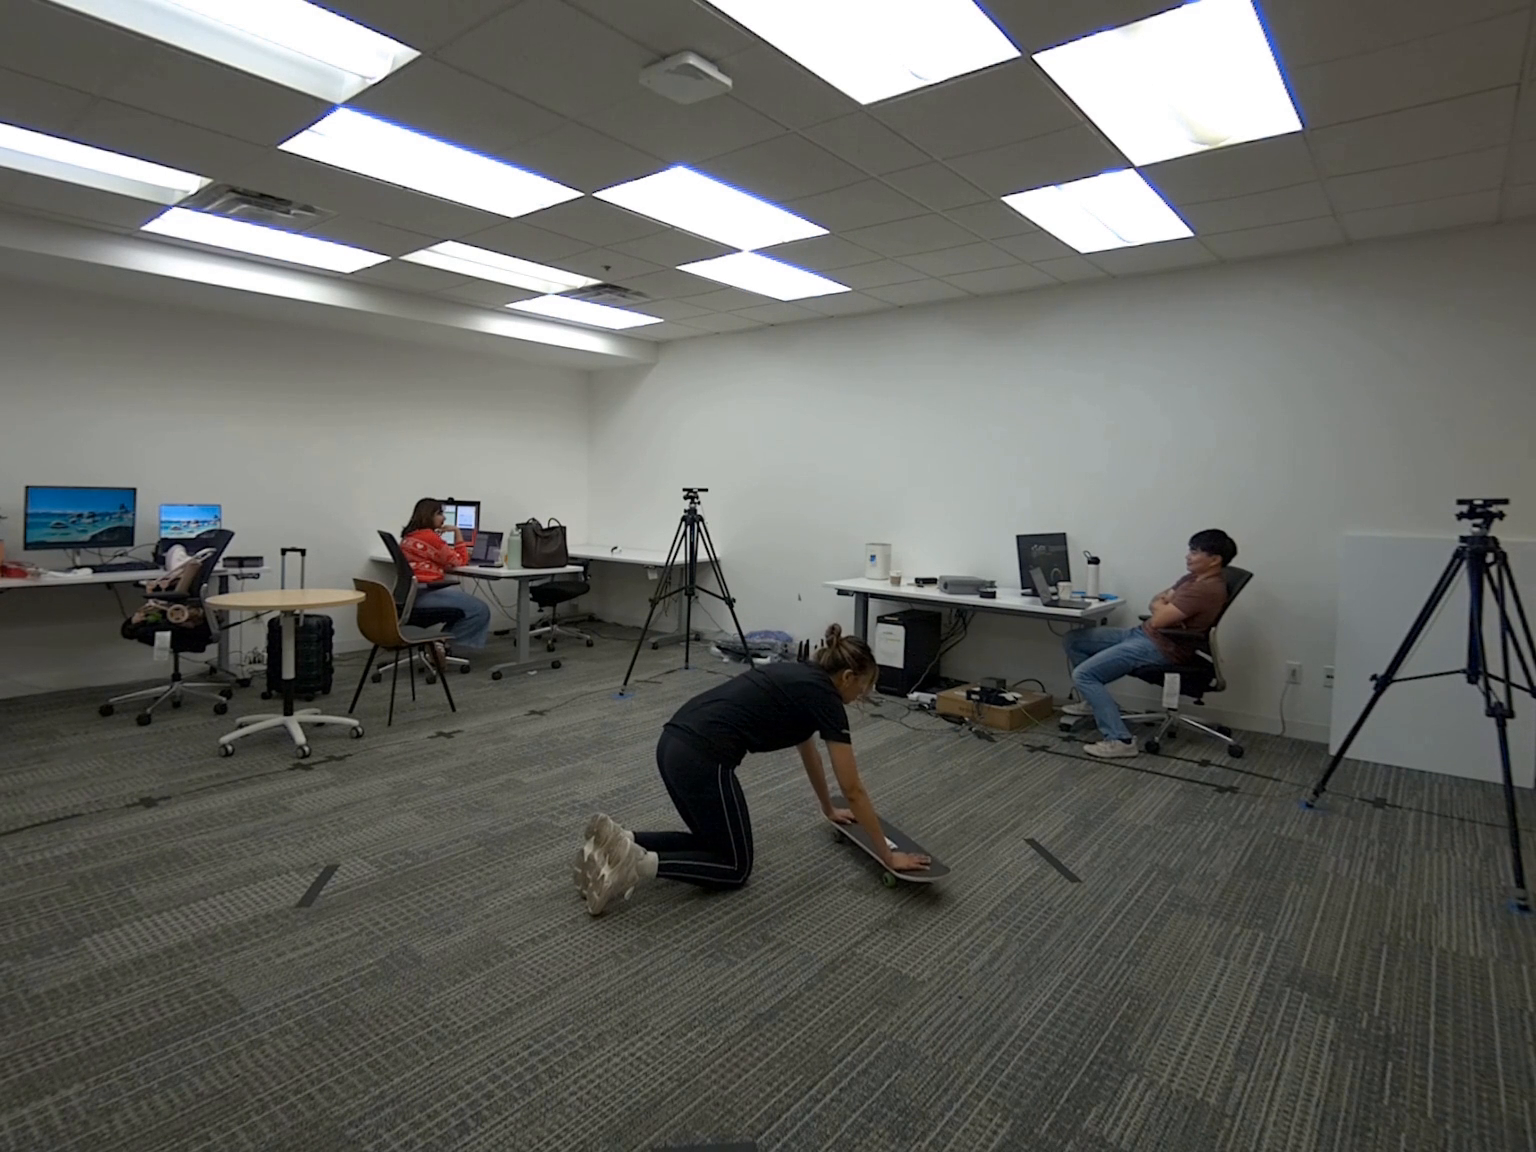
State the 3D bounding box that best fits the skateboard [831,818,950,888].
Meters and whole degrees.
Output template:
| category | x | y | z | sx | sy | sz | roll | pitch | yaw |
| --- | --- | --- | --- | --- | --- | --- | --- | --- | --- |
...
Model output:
| category | x | y | z | sx | sy | sz | roll | pitch | yaw |
| --- | --- | --- | --- | --- | --- | --- | --- | --- | --- |
| skateboard | 0.414 | 1.016 | 3.216 | 0.190 | 0.110 | 0.804 | -3 | 6 | -21 |
